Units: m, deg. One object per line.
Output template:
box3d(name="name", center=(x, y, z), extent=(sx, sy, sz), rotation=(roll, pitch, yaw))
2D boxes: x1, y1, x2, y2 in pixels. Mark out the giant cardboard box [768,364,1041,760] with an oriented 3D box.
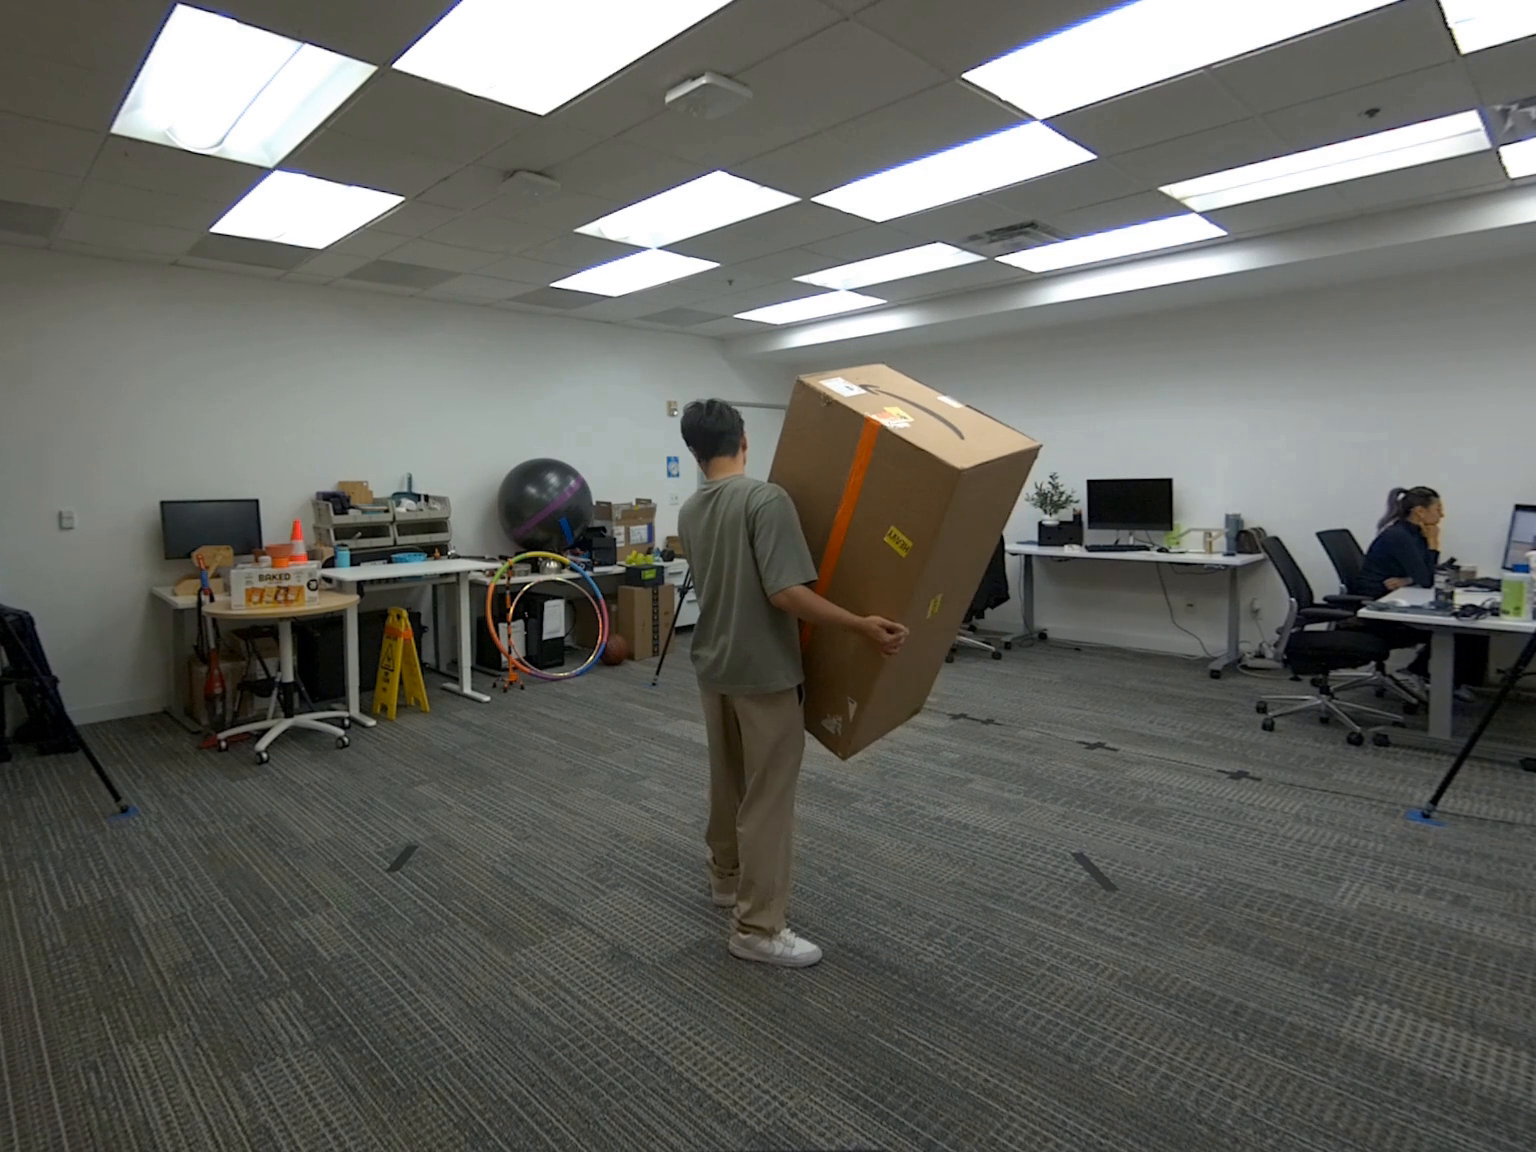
box3d(name="giant cardboard box", center=(0.291, -0.047, 2.634), extent=(0.418, 1.009, 0.599), rotation=(-18, 45, -42))
